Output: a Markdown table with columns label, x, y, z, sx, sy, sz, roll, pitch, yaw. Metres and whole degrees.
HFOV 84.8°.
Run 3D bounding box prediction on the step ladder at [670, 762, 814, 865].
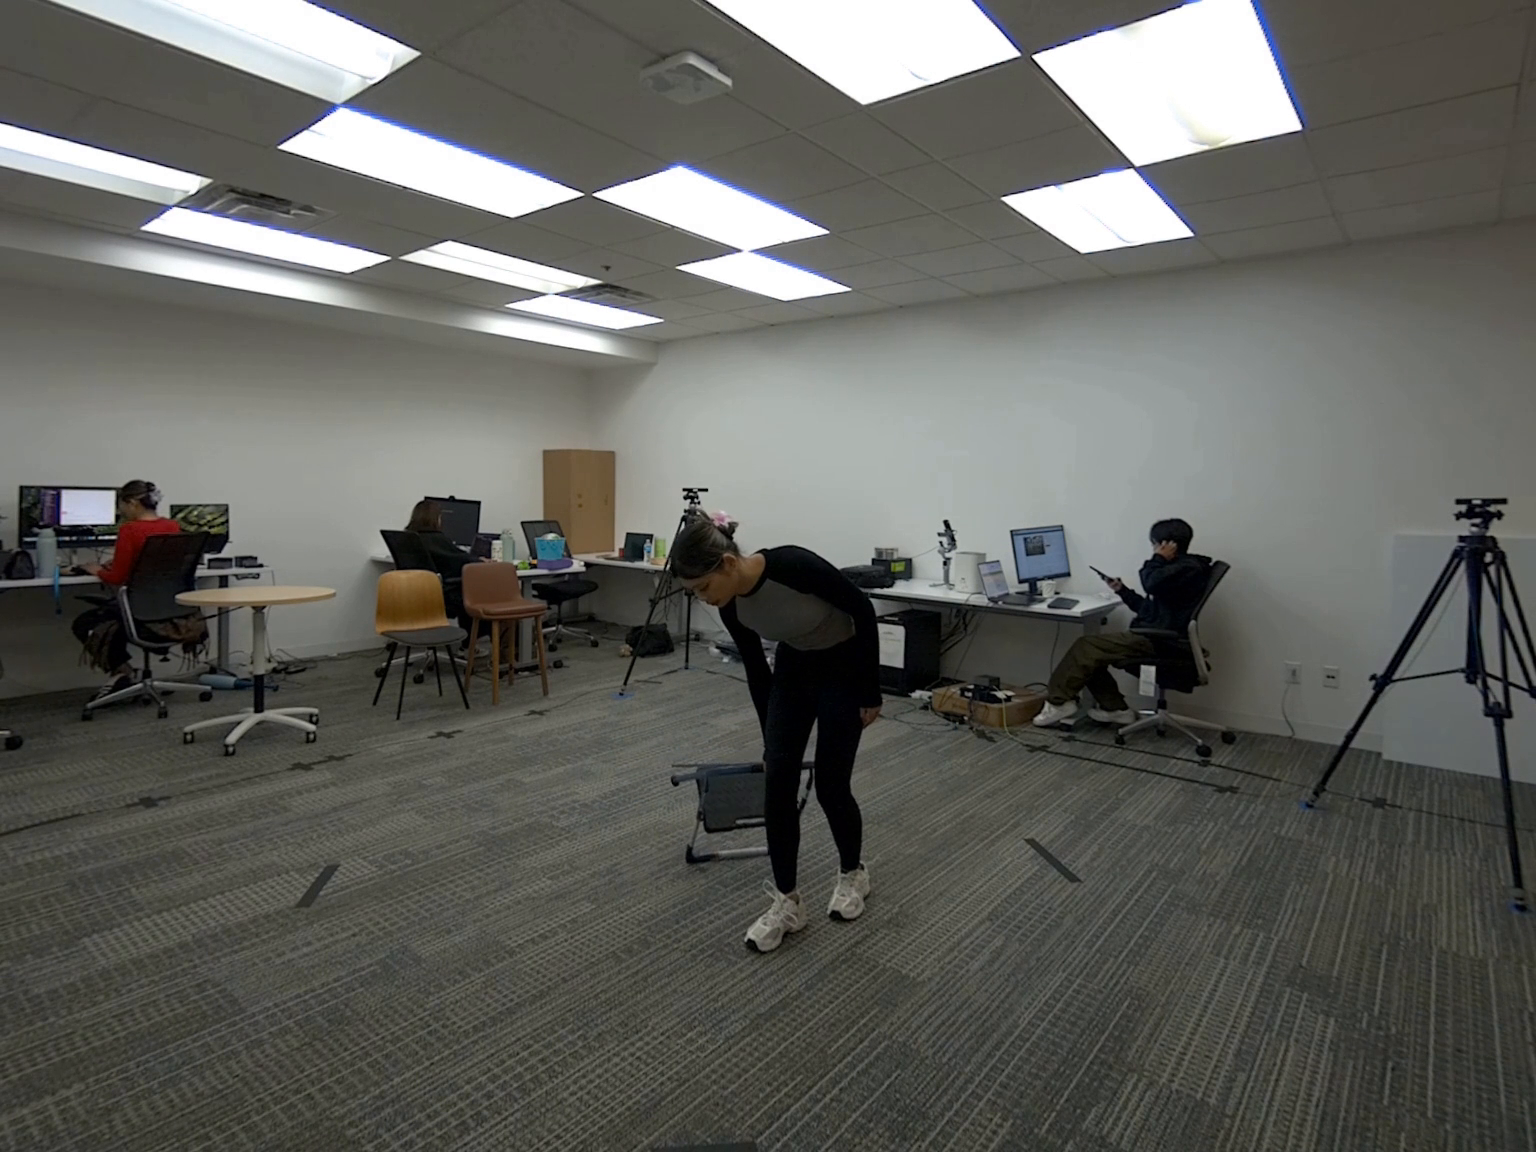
| label | x | y | z | sx | sy | sz | roll | pitch | yaw |
| --- | --- | --- | --- | --- | --- | --- | --- | --- | --- |
| step ladder | -0.088 | 0.745 | 3.094 | 0.423 | 0.361 | 0.596 | 0 | -37 | -18 |
